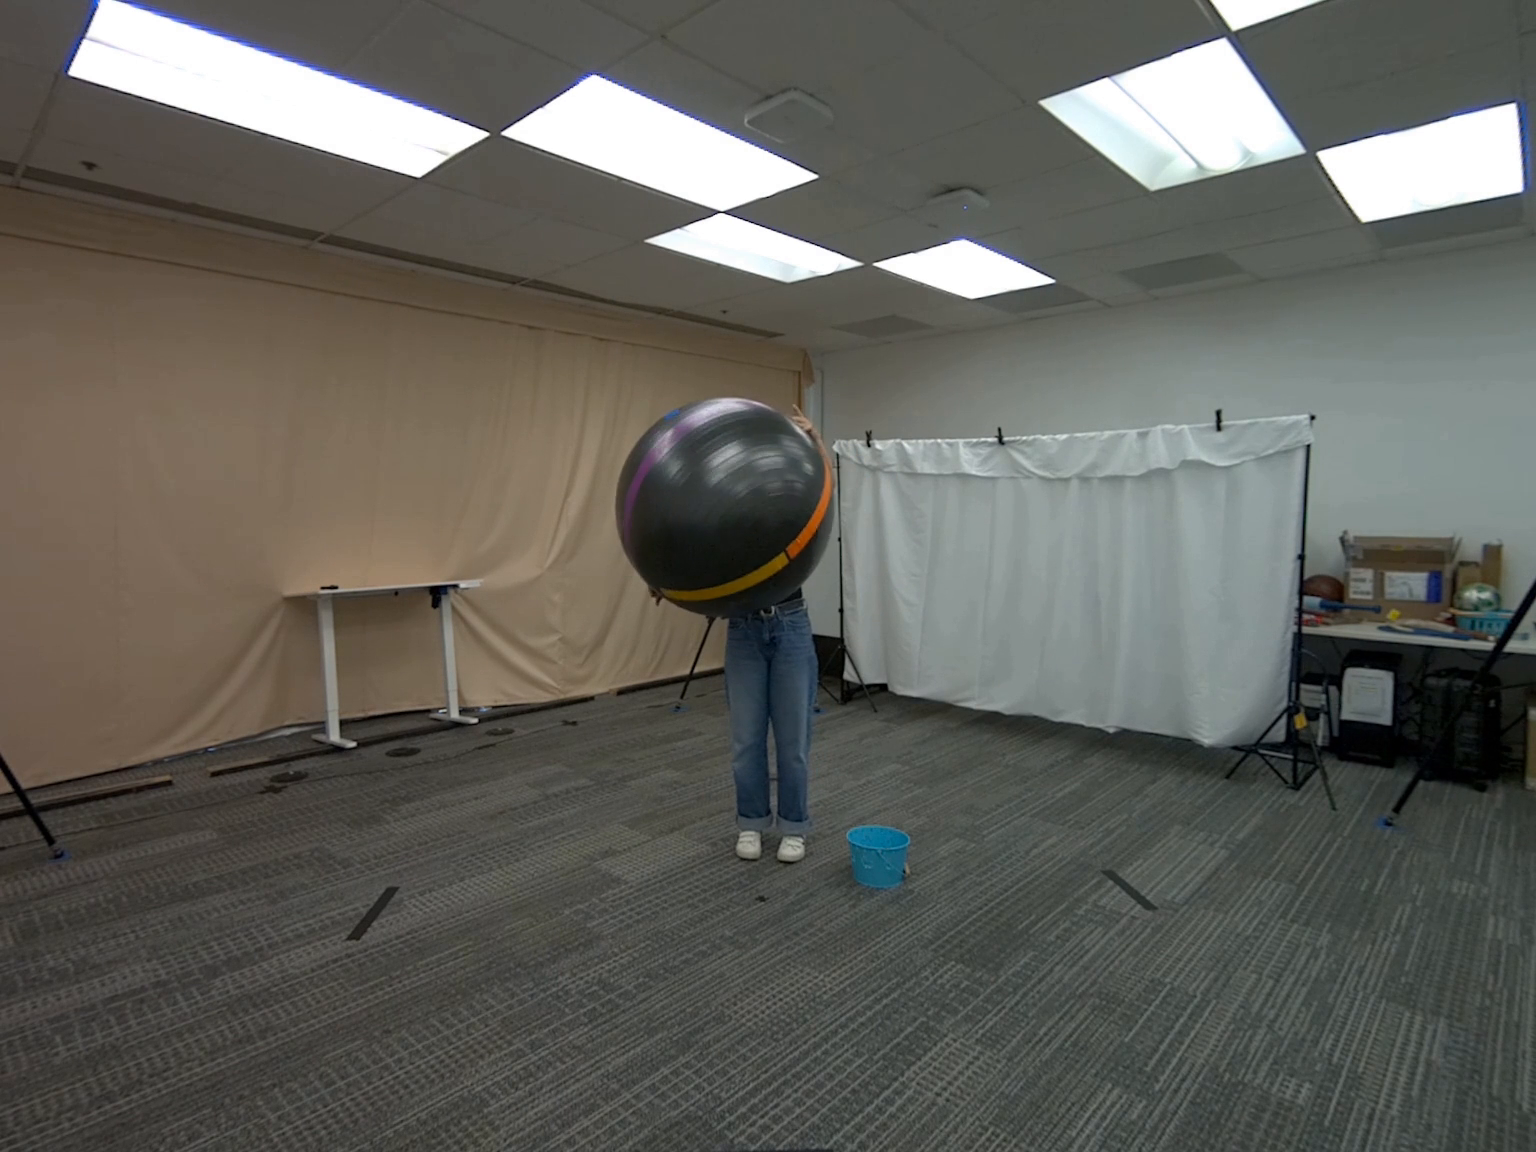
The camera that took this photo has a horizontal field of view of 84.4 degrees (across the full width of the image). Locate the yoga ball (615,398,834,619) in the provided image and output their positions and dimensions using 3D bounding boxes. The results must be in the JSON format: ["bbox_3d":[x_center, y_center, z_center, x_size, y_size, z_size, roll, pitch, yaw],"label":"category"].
[{"bbox_3d":[-0.148,-0.231,2.925,0.757,0.756,0.760,0,4,-2],"label":"yoga ball"}]
